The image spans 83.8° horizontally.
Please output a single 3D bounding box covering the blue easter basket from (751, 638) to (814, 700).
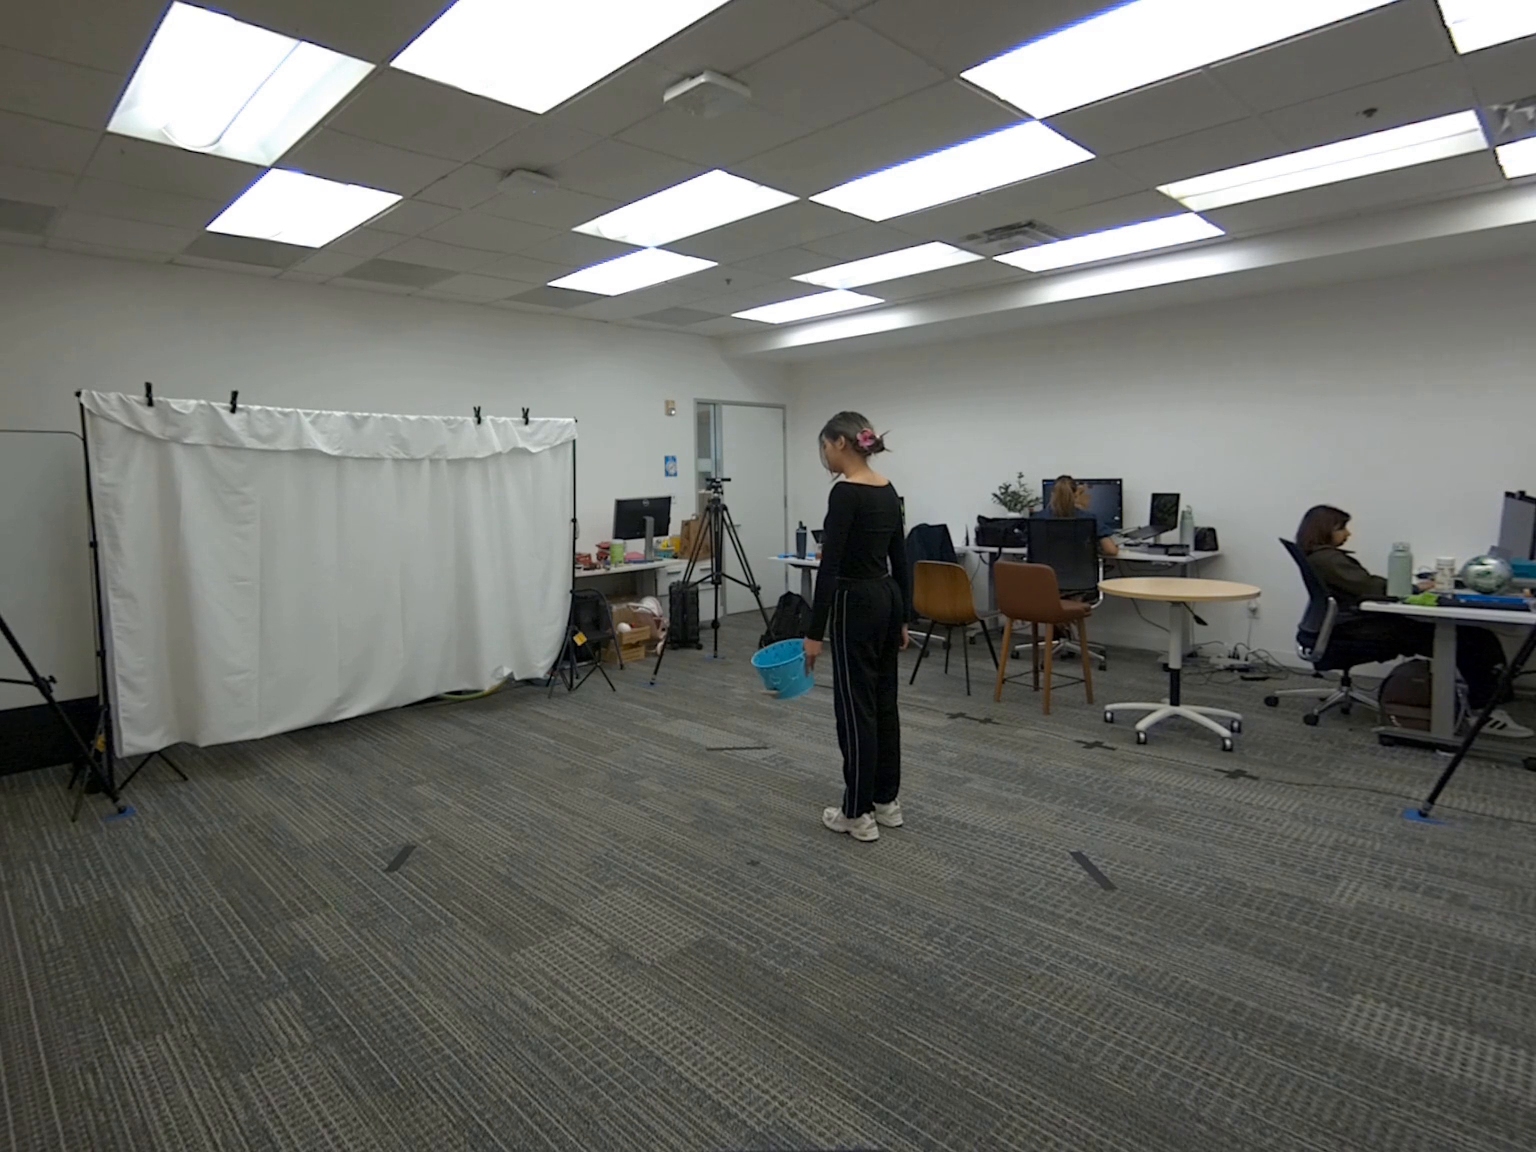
[{"bbox_3d":[0.065,0.358,3.270,0.244,0.153,0.247,-16,14,2],"label":"blue easter basket"}]
